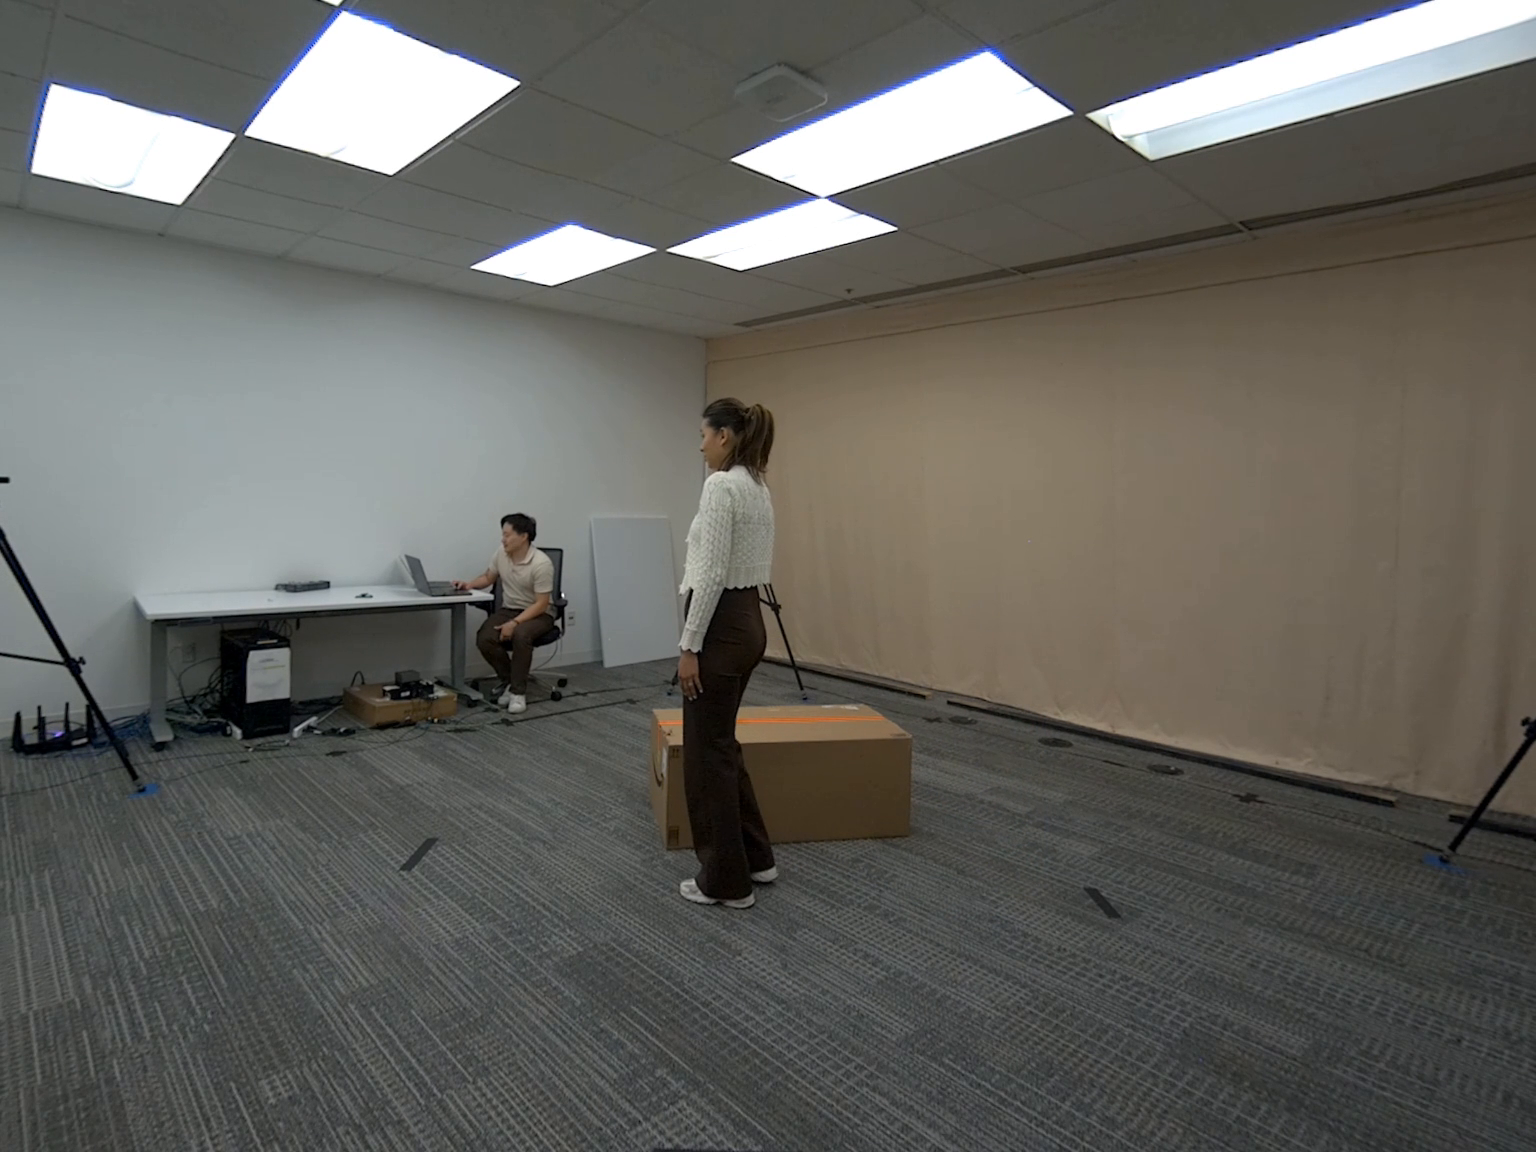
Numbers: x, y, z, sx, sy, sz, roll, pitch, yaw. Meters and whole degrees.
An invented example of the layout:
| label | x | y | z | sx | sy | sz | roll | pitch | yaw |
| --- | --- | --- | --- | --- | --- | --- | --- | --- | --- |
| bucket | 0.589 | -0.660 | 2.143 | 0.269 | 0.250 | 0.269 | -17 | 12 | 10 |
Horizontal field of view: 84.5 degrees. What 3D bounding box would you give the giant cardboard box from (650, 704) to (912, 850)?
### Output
| label | x | y | z | sx | sy | sz | roll | pitch | yaw |
| --- | --- | --- | --- | --- | --- | --- | --- | --- | --- |
| giant cardboard box | 0.025 | 0.840 | 3.668 | 1.016 | 0.425 | 0.584 | 0 | 3 | -12 |
